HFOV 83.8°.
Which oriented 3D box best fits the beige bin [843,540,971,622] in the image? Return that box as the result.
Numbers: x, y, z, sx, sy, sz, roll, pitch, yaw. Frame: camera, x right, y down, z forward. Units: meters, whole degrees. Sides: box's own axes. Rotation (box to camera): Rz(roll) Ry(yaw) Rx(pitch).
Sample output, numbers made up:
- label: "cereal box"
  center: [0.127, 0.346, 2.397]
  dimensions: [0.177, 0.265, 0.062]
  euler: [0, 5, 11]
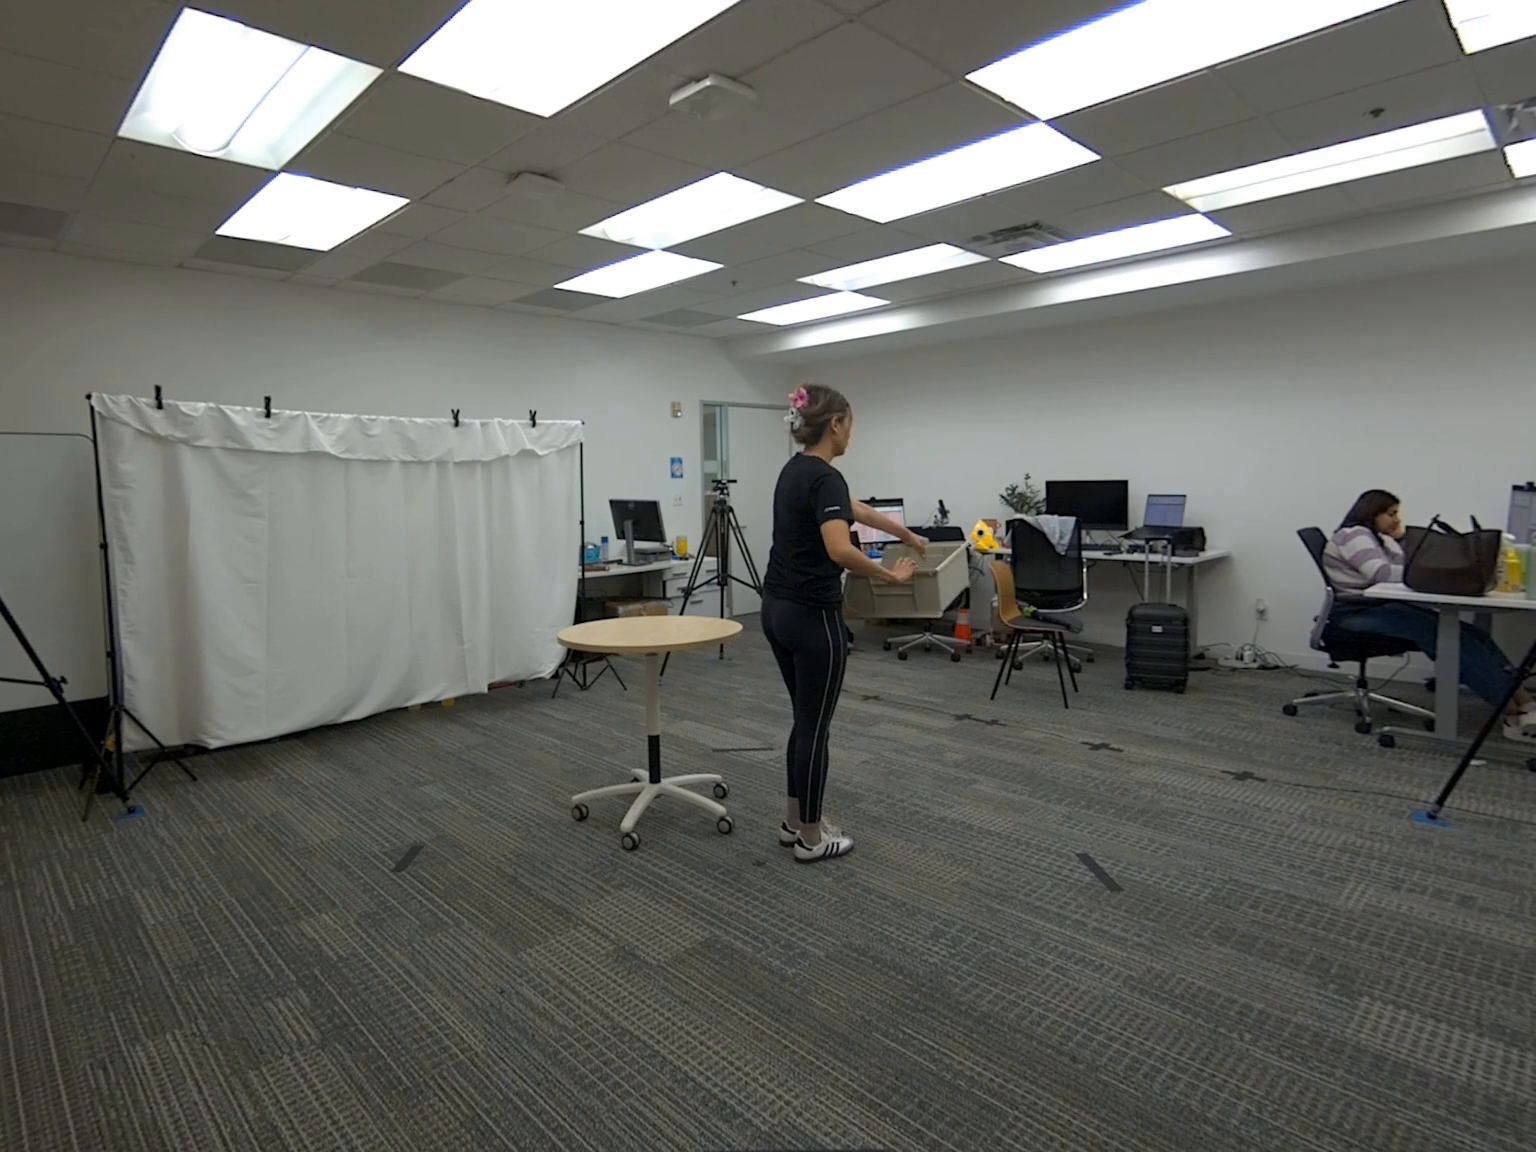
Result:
- label: "beige bin"
  center: [0.541, 0.013, 3.288]
  dimensions: [0.387, 0.187, 0.417]
  euler: [-1, 14, 30]
